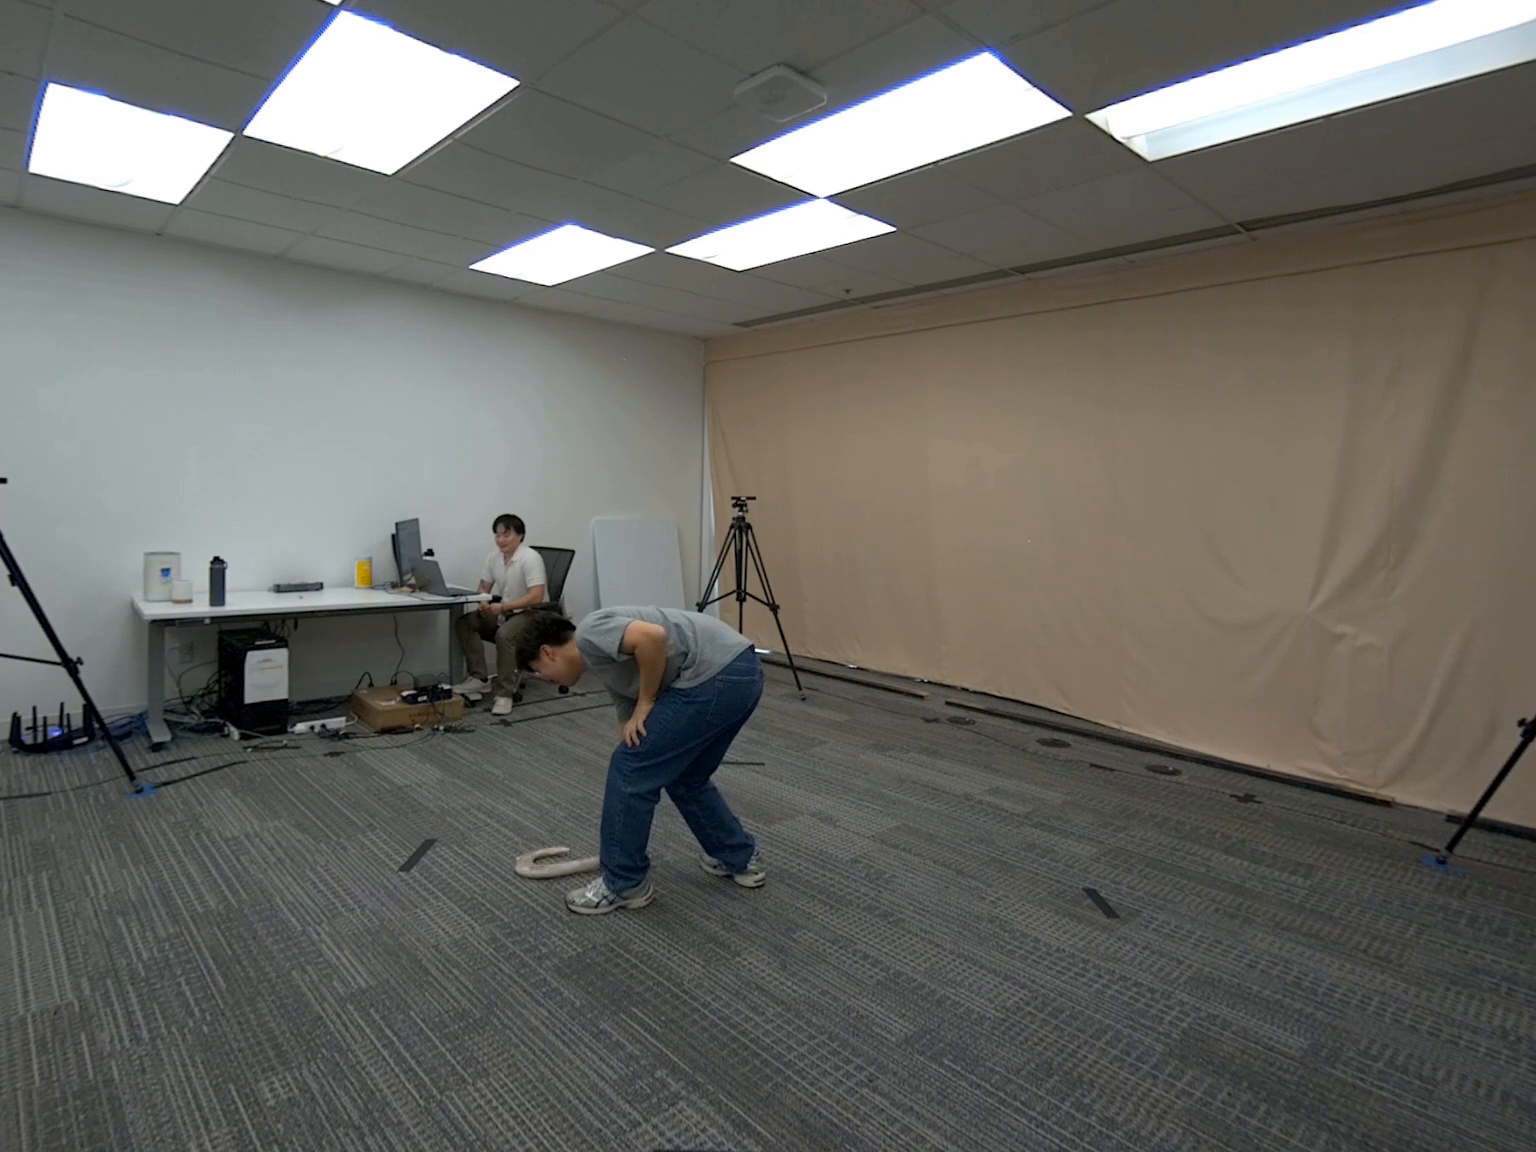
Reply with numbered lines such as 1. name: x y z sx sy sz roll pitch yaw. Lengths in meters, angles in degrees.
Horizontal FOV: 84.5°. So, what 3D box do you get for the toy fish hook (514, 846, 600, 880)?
1. toy fish hook: -0.689 1.038 3.158 0.503 0.048 0.227 -2 8 -9
